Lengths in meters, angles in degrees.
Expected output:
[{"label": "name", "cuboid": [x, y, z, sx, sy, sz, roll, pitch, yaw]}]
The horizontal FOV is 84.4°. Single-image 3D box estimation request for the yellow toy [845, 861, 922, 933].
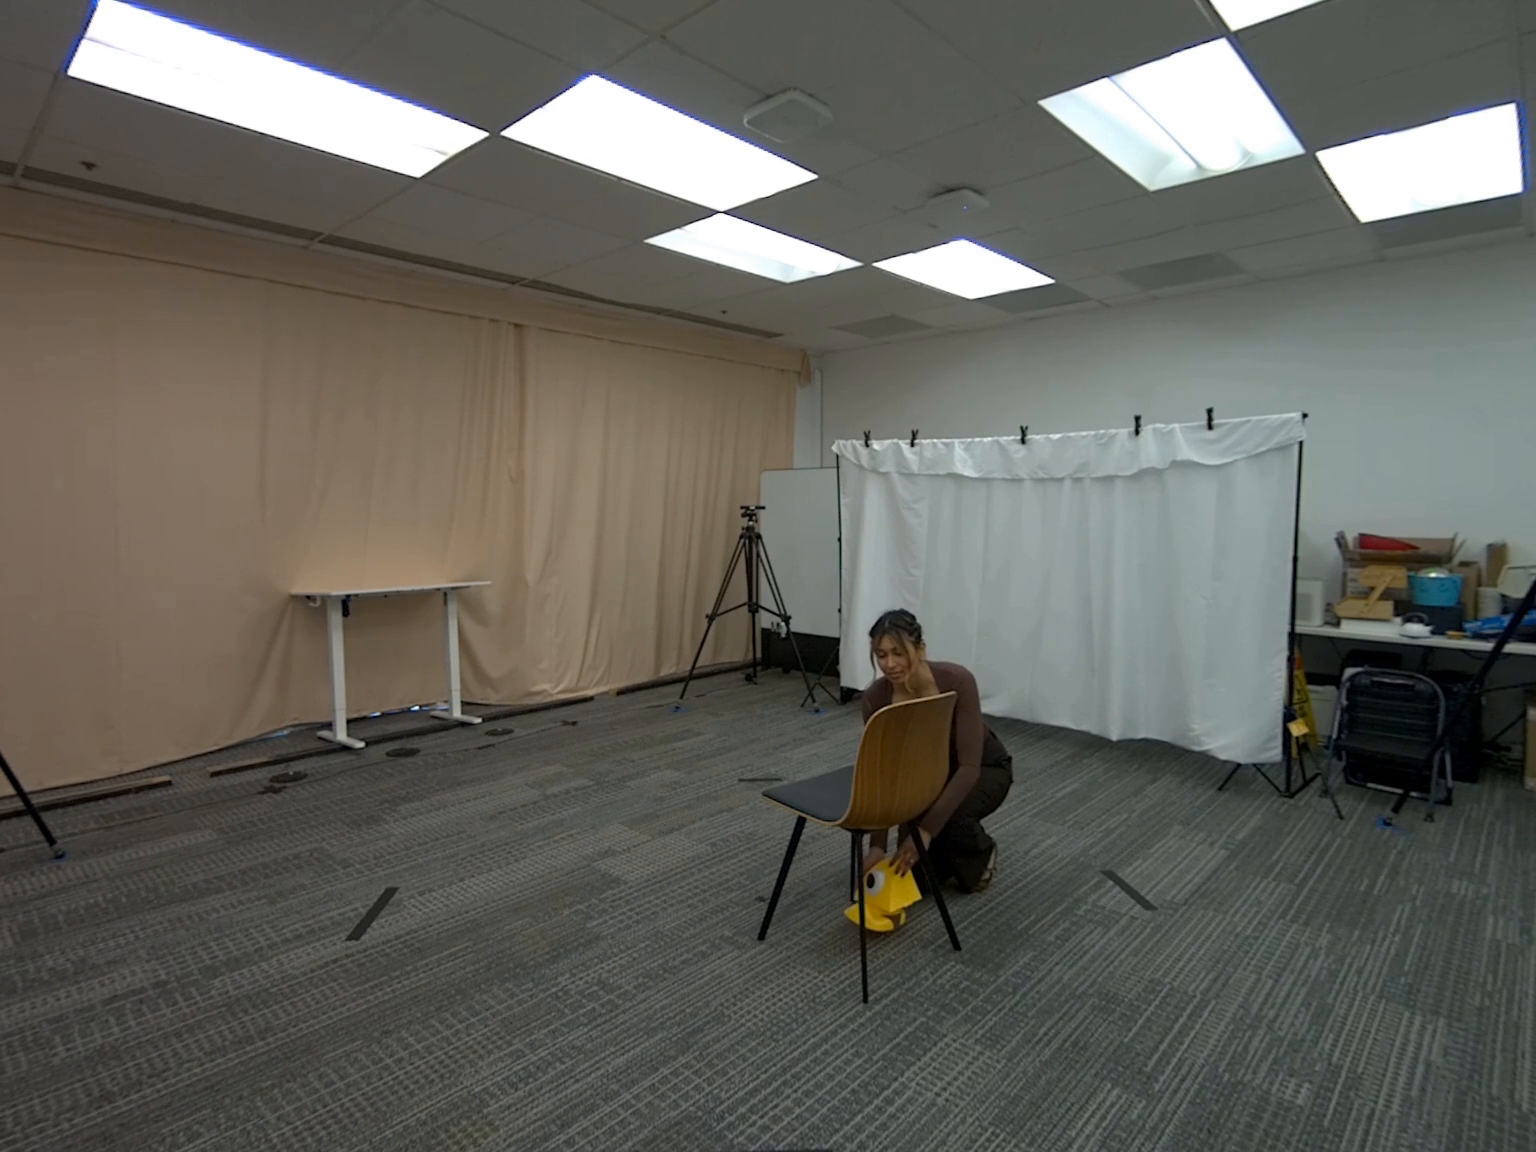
[{"label": "yellow toy", "cuboid": [0.380, 1.001, 2.726, 0.200, 0.230, 0.198, 9, 1, 39]}]
